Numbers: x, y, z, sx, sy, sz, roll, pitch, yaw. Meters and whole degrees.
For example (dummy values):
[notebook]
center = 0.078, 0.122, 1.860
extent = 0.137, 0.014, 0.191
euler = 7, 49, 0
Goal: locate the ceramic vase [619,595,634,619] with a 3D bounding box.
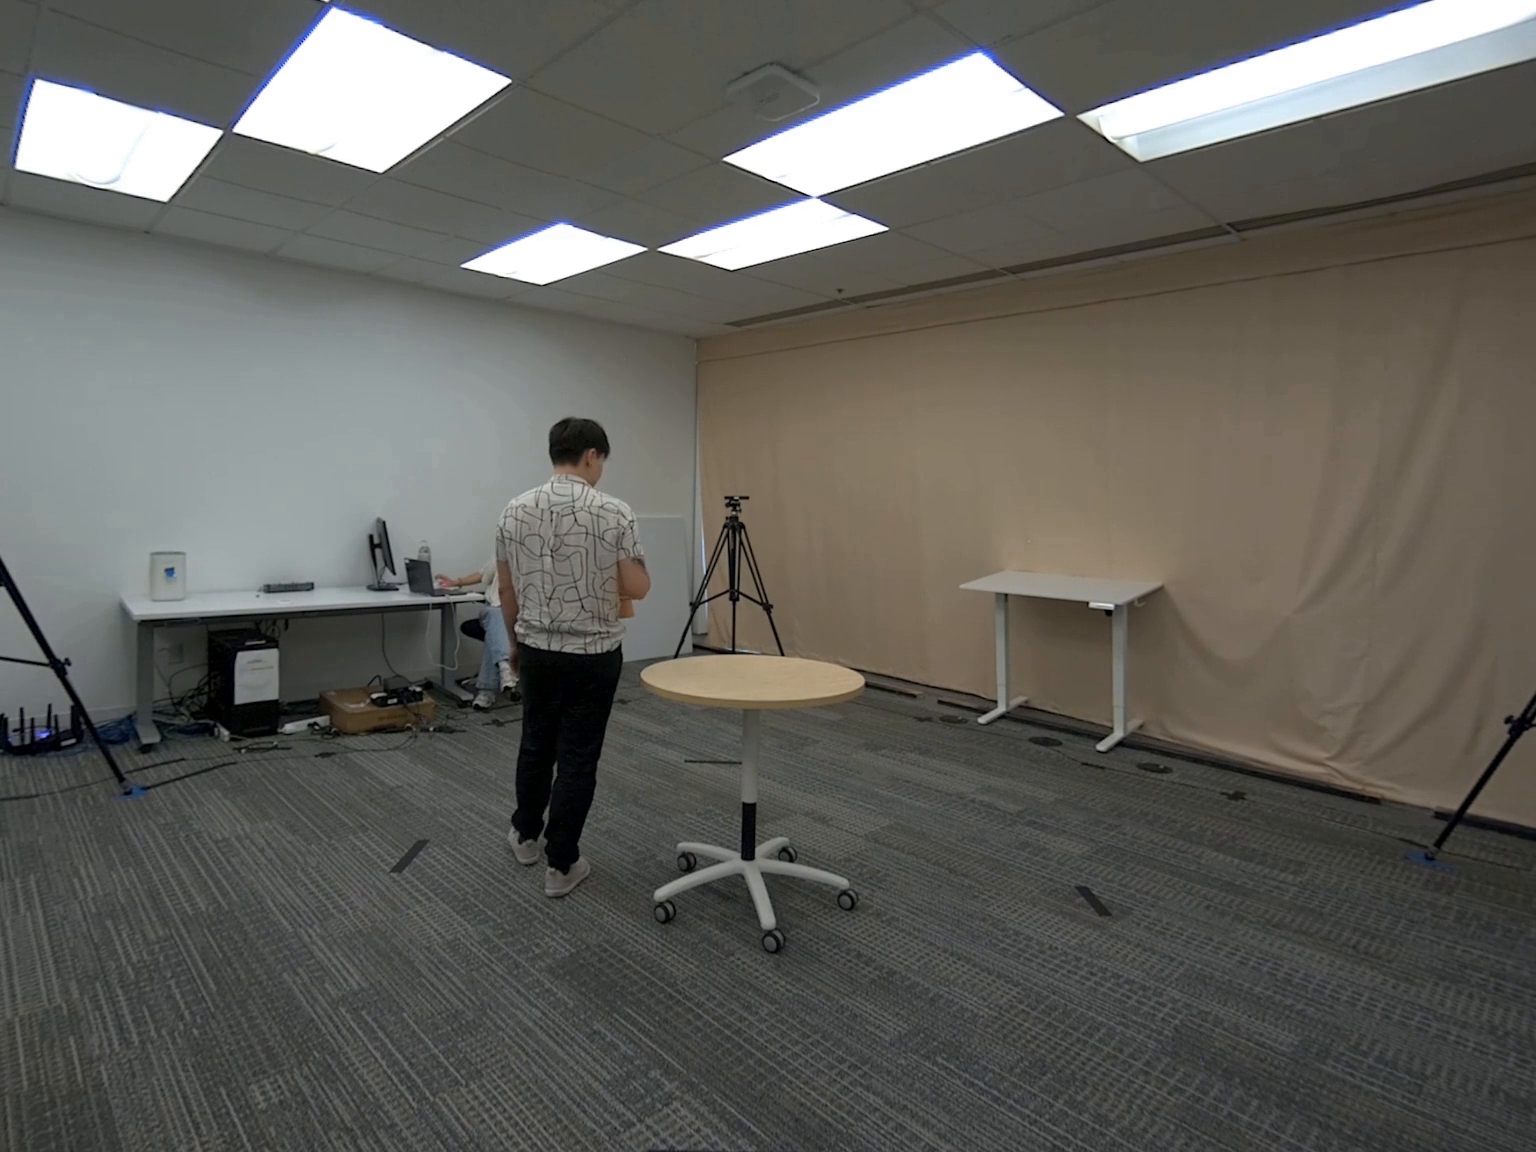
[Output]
[ceramic vase]
center = -0.586, 0.053, 3.275
extent = 0.134, 0.219, 0.160
euler = -2, 3, -8
